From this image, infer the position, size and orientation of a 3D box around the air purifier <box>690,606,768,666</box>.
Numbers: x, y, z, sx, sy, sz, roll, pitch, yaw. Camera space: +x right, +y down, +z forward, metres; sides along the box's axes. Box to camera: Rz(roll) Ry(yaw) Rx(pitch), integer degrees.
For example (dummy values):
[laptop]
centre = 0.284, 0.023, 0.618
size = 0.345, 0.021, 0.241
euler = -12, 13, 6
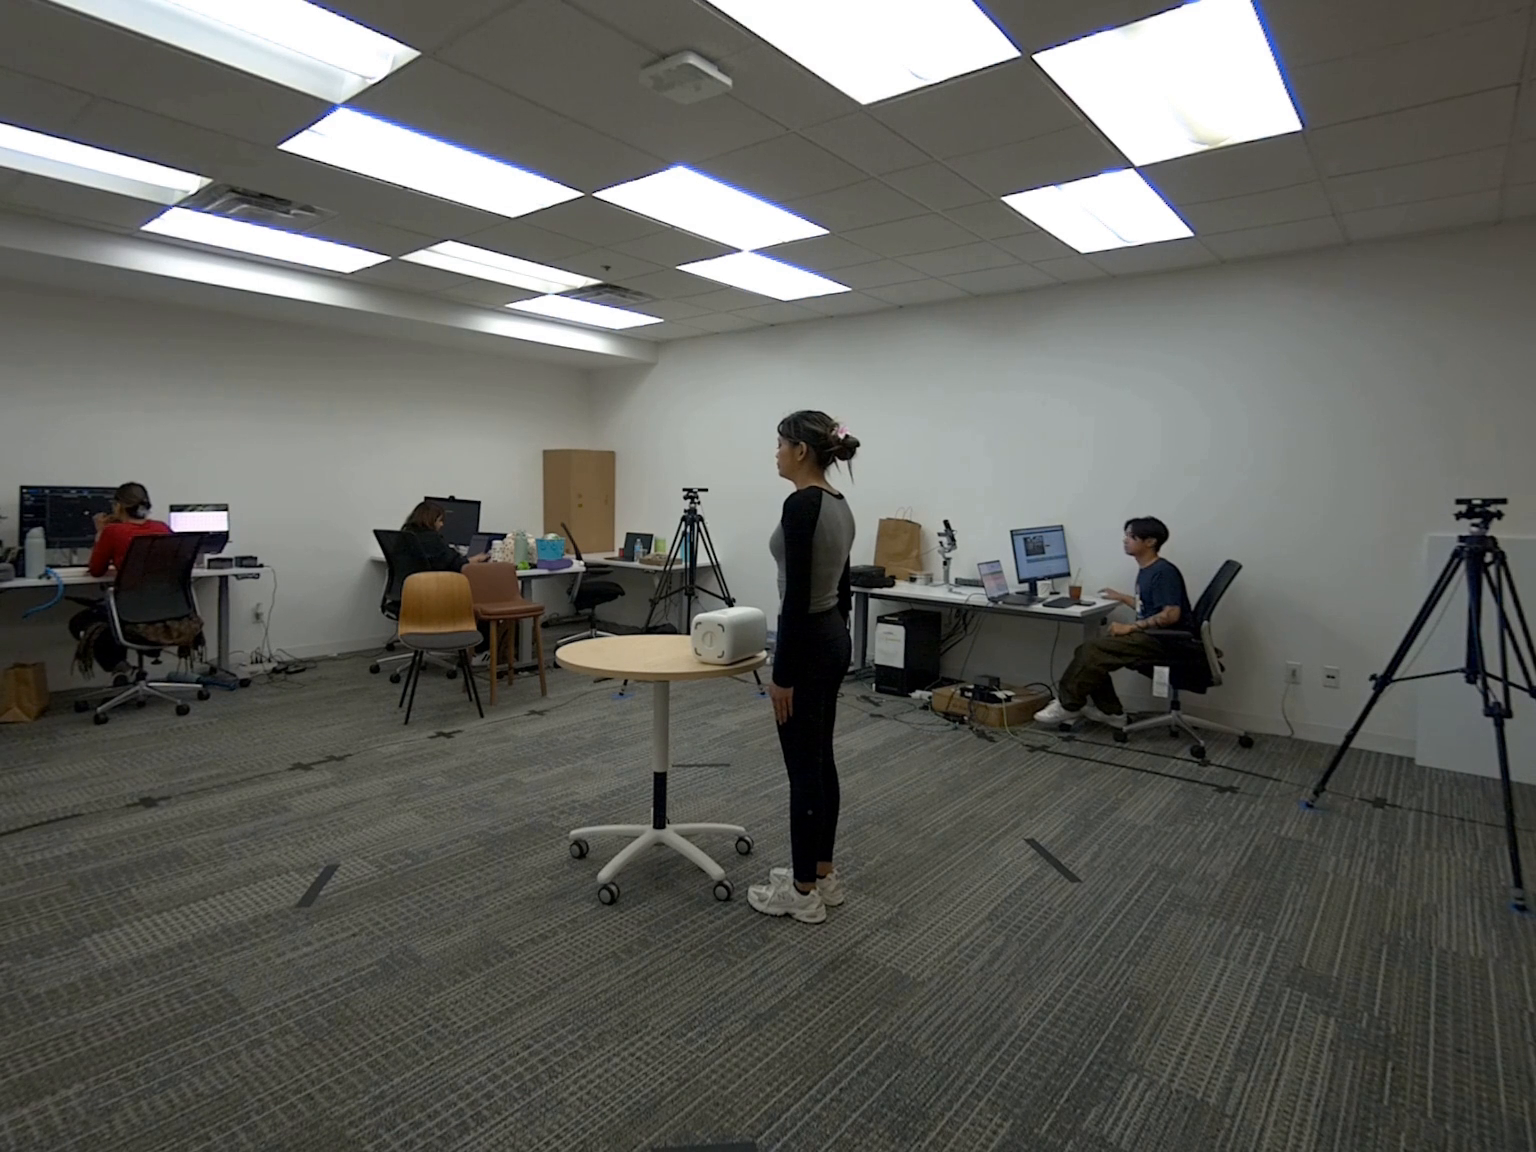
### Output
[air purifier]
centre = -0.147, 0.202, 2.967
size = 0.176, 0.171, 0.259
euler = 4, 5, 27
